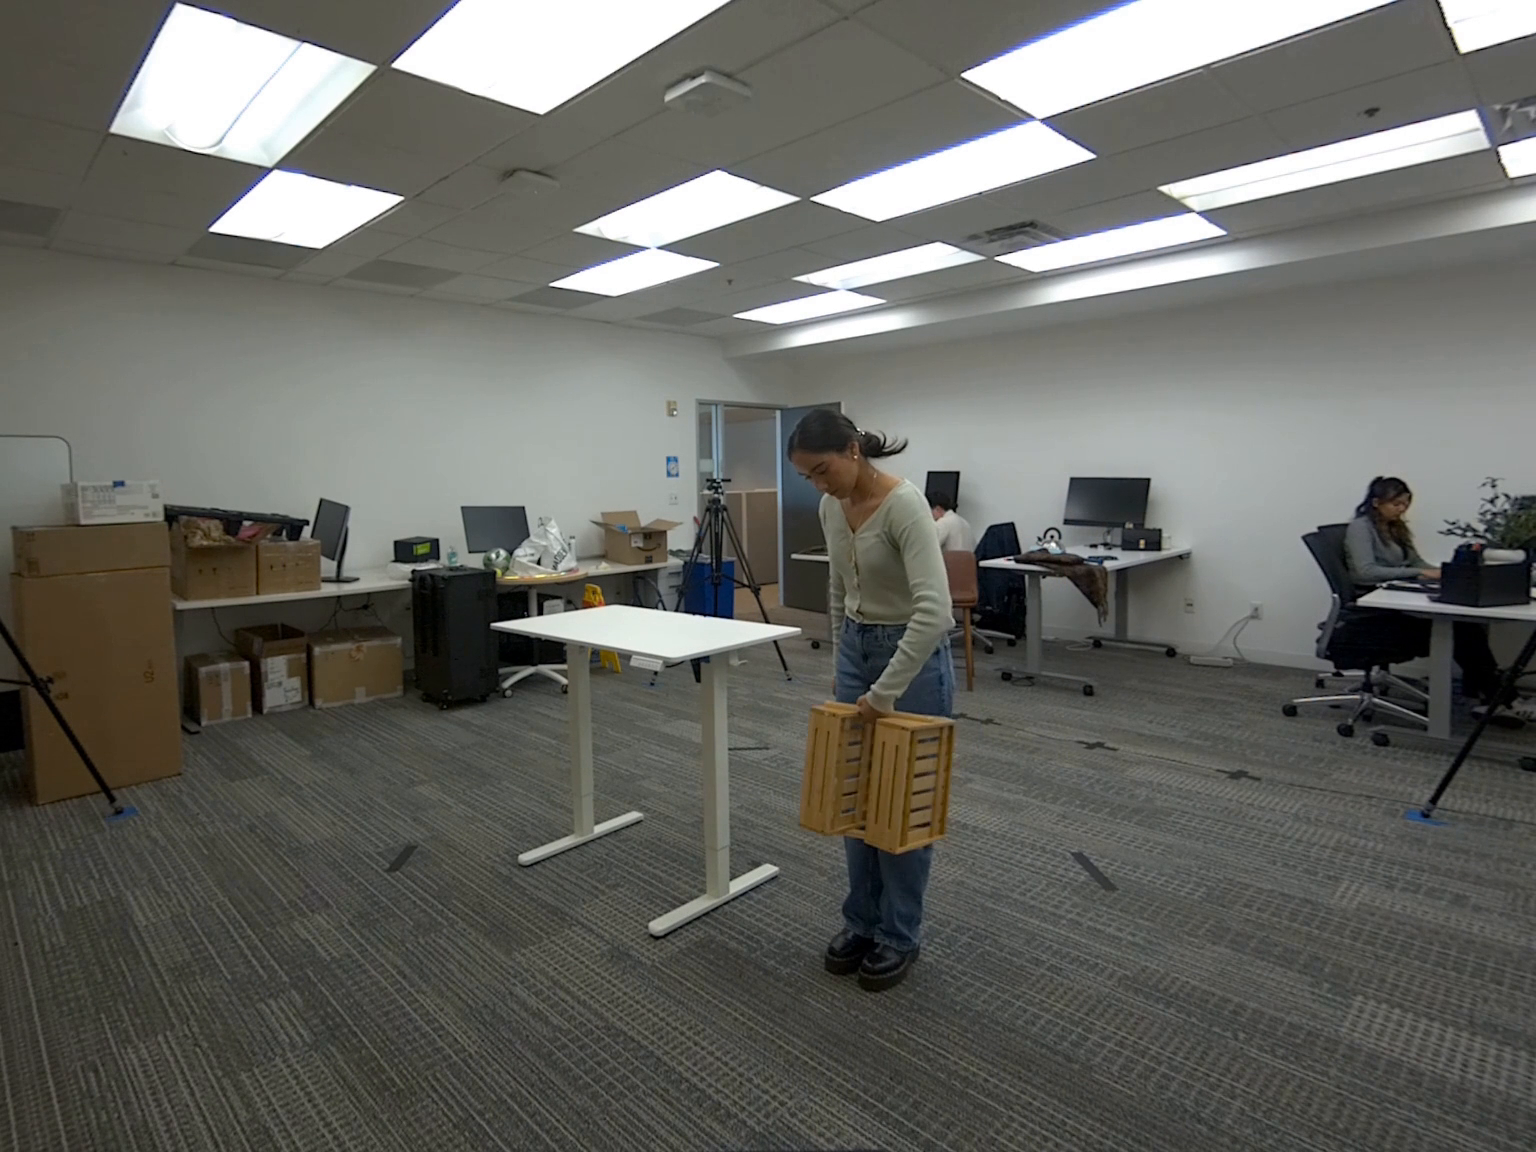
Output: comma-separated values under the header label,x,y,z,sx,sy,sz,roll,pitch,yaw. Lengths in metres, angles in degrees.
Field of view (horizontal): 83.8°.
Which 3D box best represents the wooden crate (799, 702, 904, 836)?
label,x,y,z,sx,sy,sz,roll,pitch,yaw
wooden crate,0.290,0.502,2.187,0.282,0.325,0.292,5,-1,43
